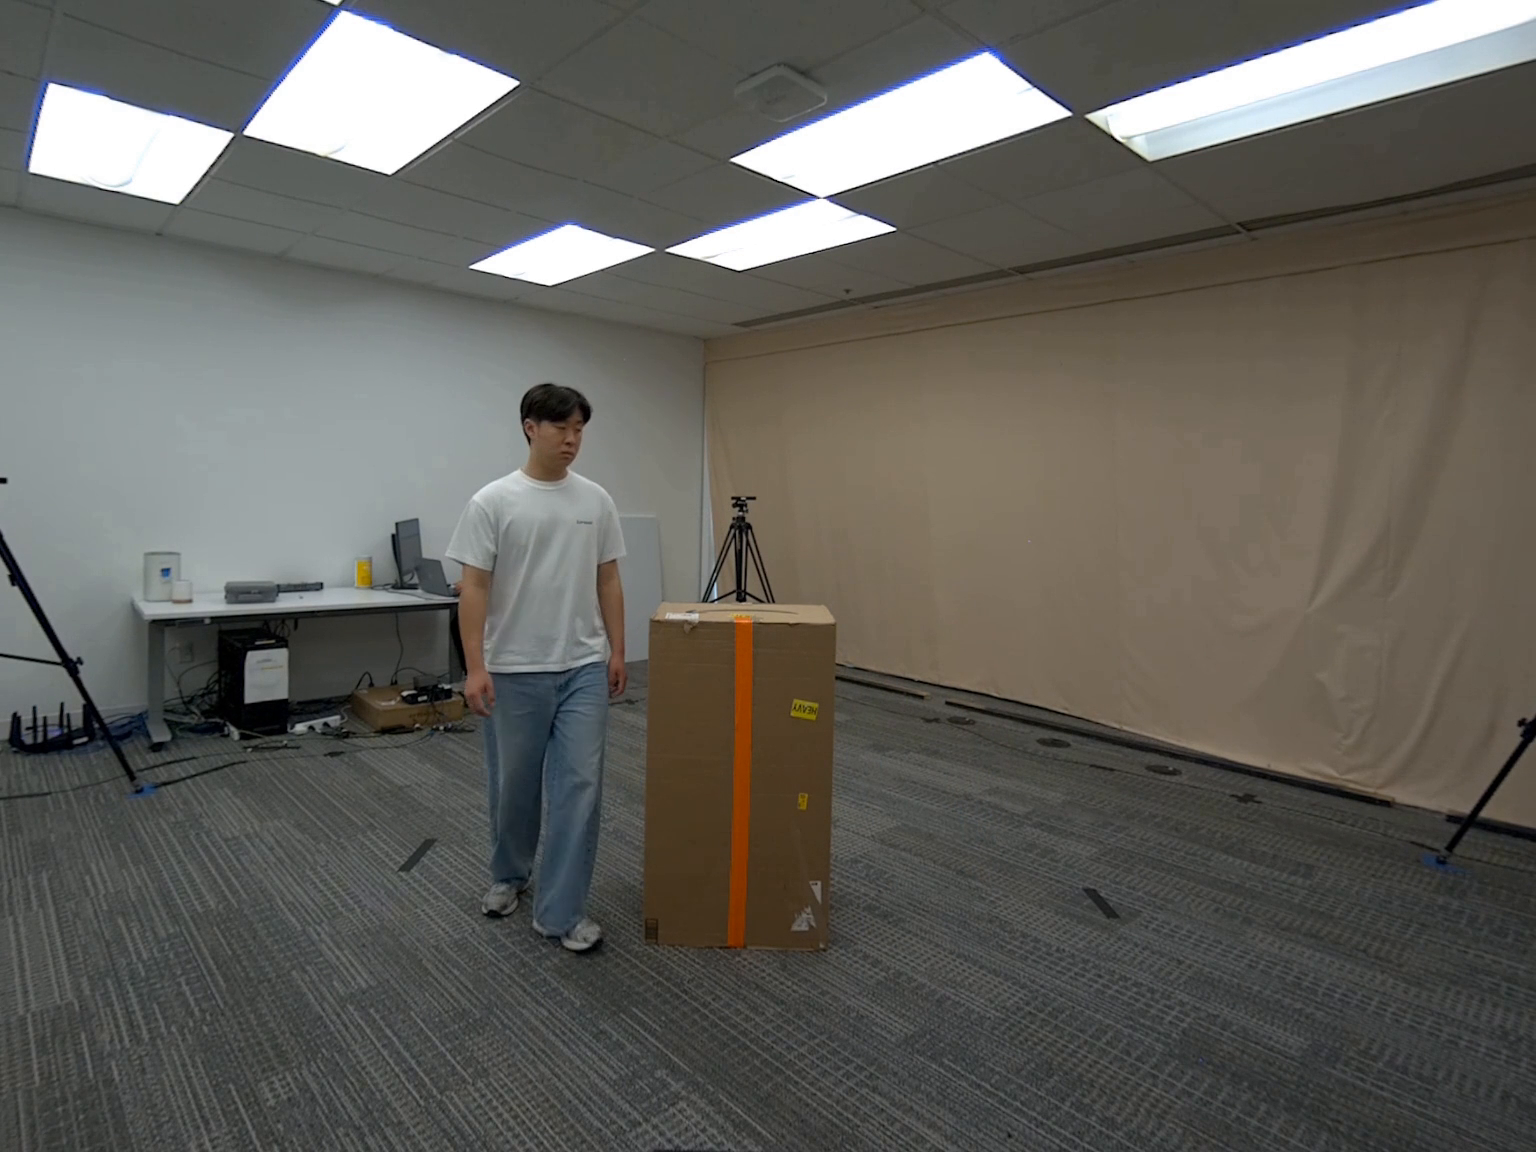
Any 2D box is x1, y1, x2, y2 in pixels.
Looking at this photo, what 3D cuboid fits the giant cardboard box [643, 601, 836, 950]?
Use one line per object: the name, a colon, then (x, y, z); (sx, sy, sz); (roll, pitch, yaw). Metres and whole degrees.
giant cardboard box: (-0.100, 0.628, 2.788); (0.578, 1.023, 0.427); (2, 3, 0)
